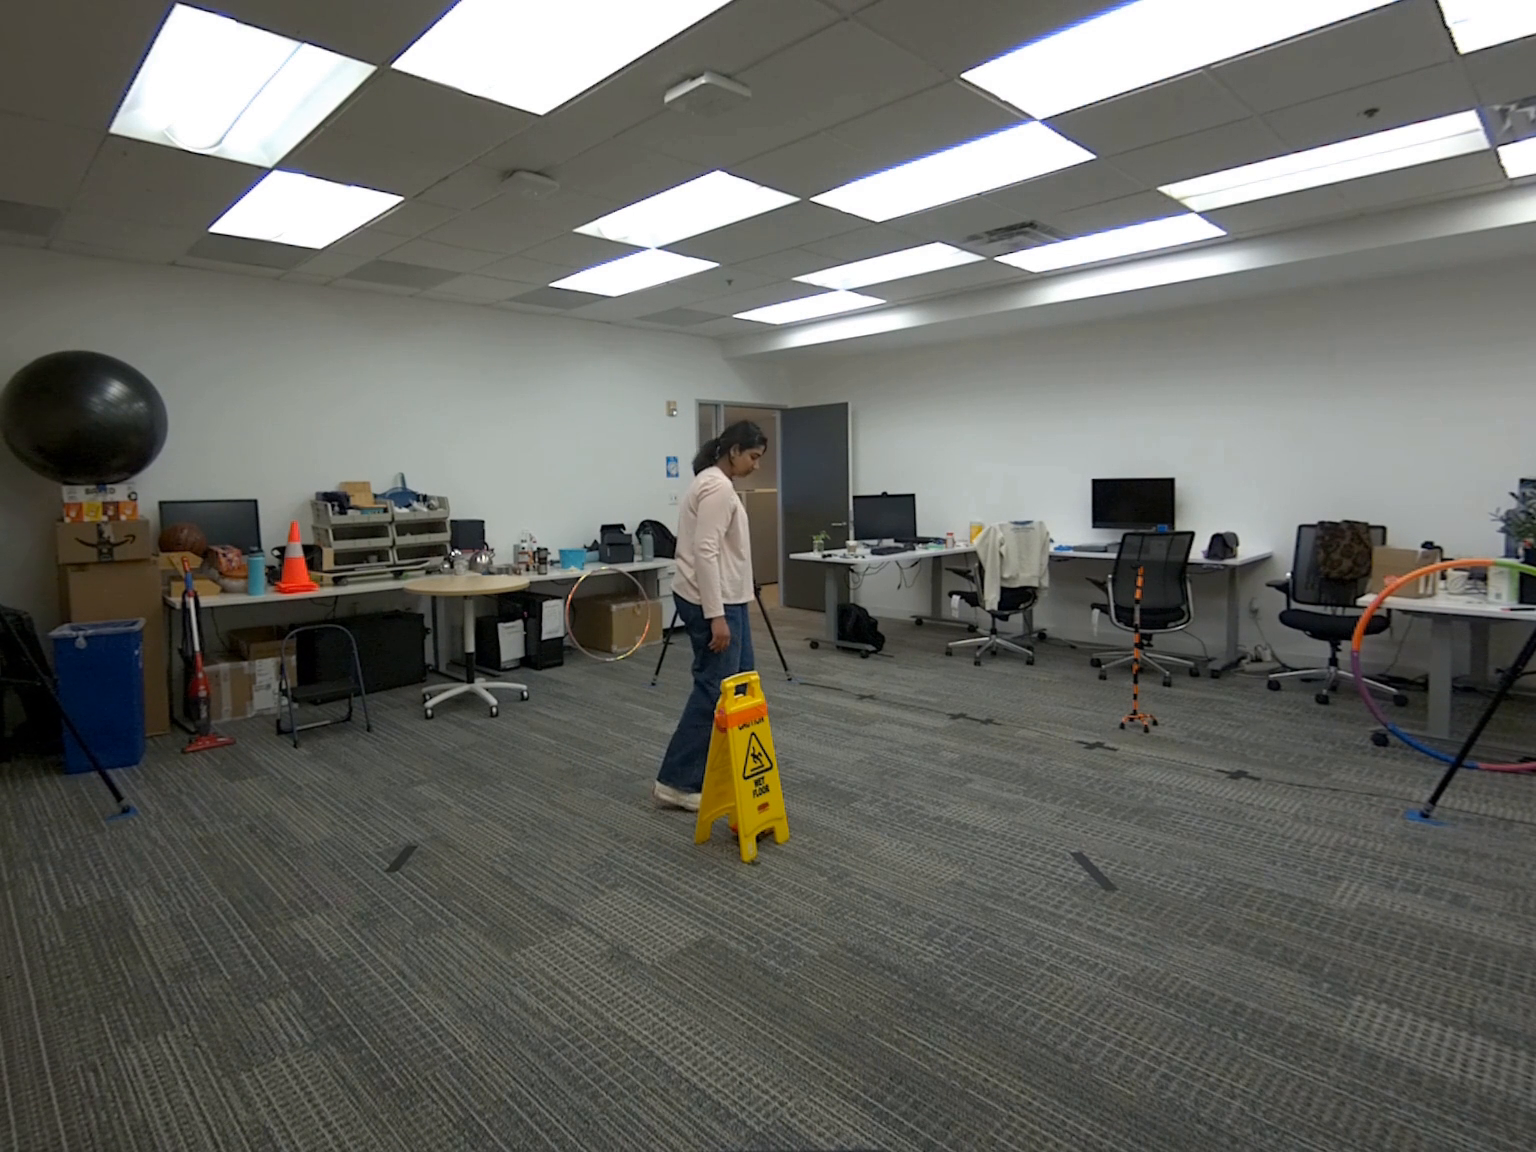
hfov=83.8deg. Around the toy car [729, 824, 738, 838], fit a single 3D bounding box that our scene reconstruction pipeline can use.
[{"bbox_3d":[-0.035,0.983,3.357,0.246,0.083,0.134,7,0,-43],"label":"toy car"}]
